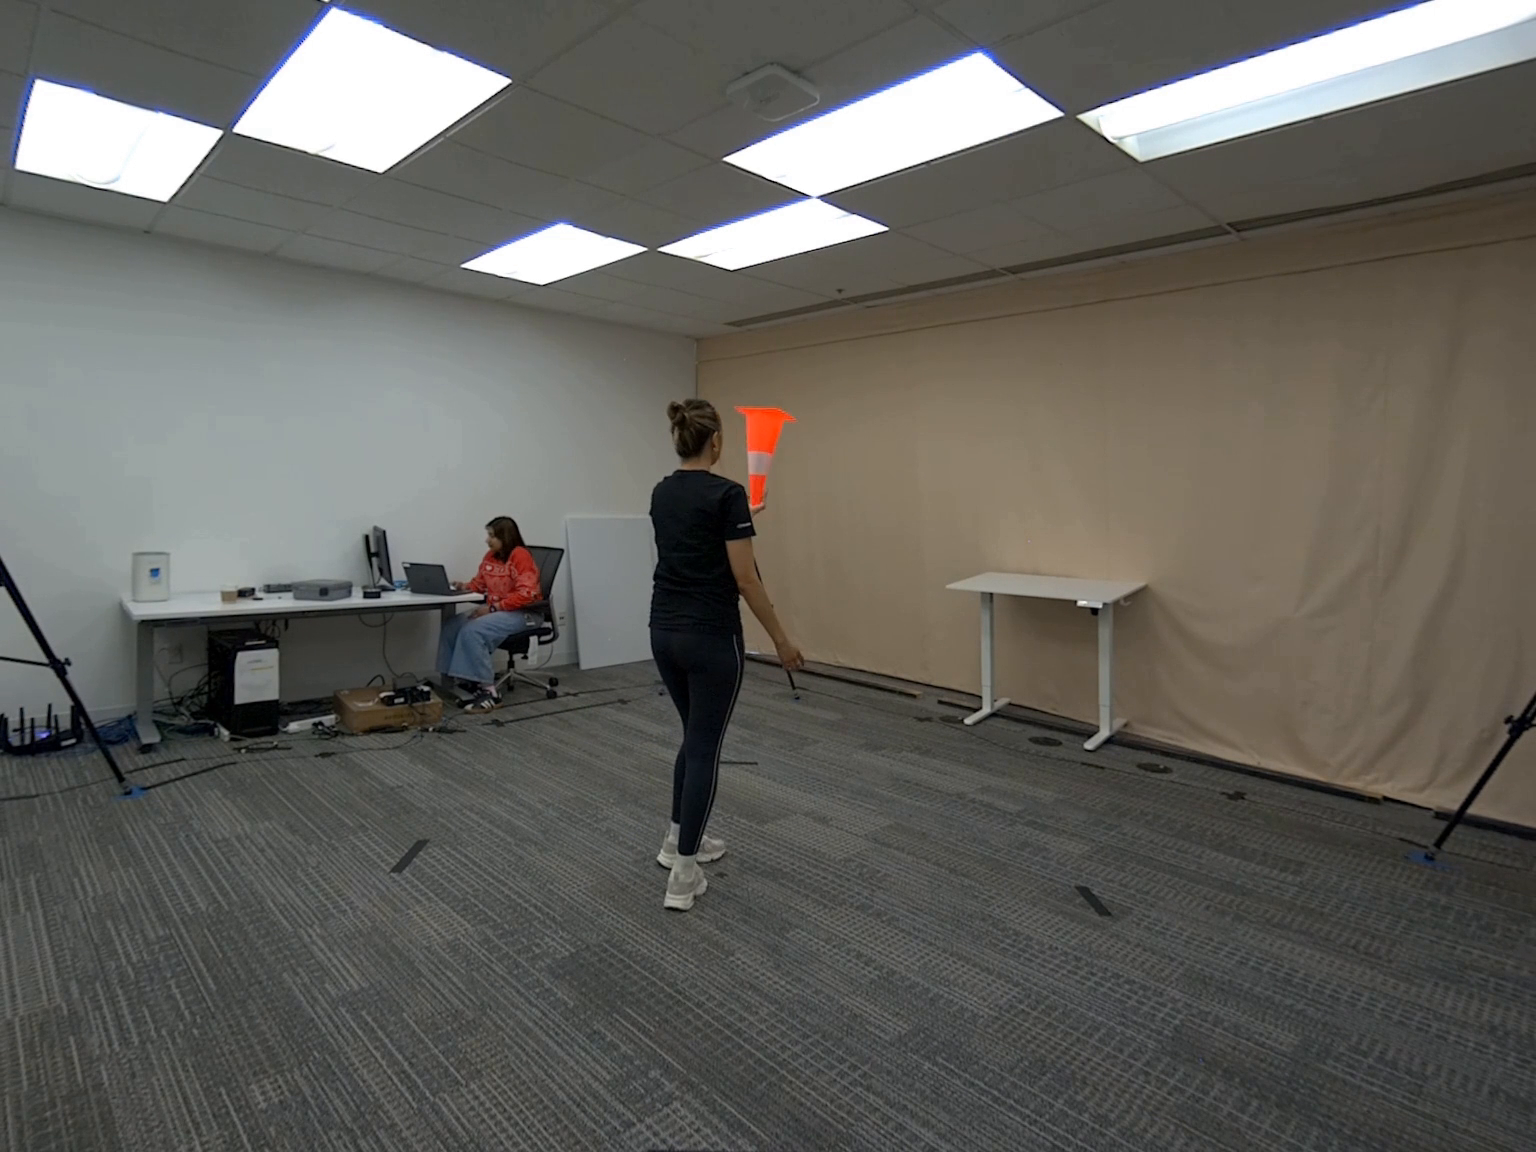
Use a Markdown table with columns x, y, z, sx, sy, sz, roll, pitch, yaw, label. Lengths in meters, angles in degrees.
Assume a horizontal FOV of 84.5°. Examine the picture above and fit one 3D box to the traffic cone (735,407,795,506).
| x | y | z | sx | sy | sz | roll | pitch | yaw | label |
| --- | --- | --- | --- | --- | --- | --- | --- | --- | --- |
| -0.034 | -0.474 | 3.426 | 0.208 | 0.384 | 0.200 | 6 | -2 | 28 | traffic cone |
